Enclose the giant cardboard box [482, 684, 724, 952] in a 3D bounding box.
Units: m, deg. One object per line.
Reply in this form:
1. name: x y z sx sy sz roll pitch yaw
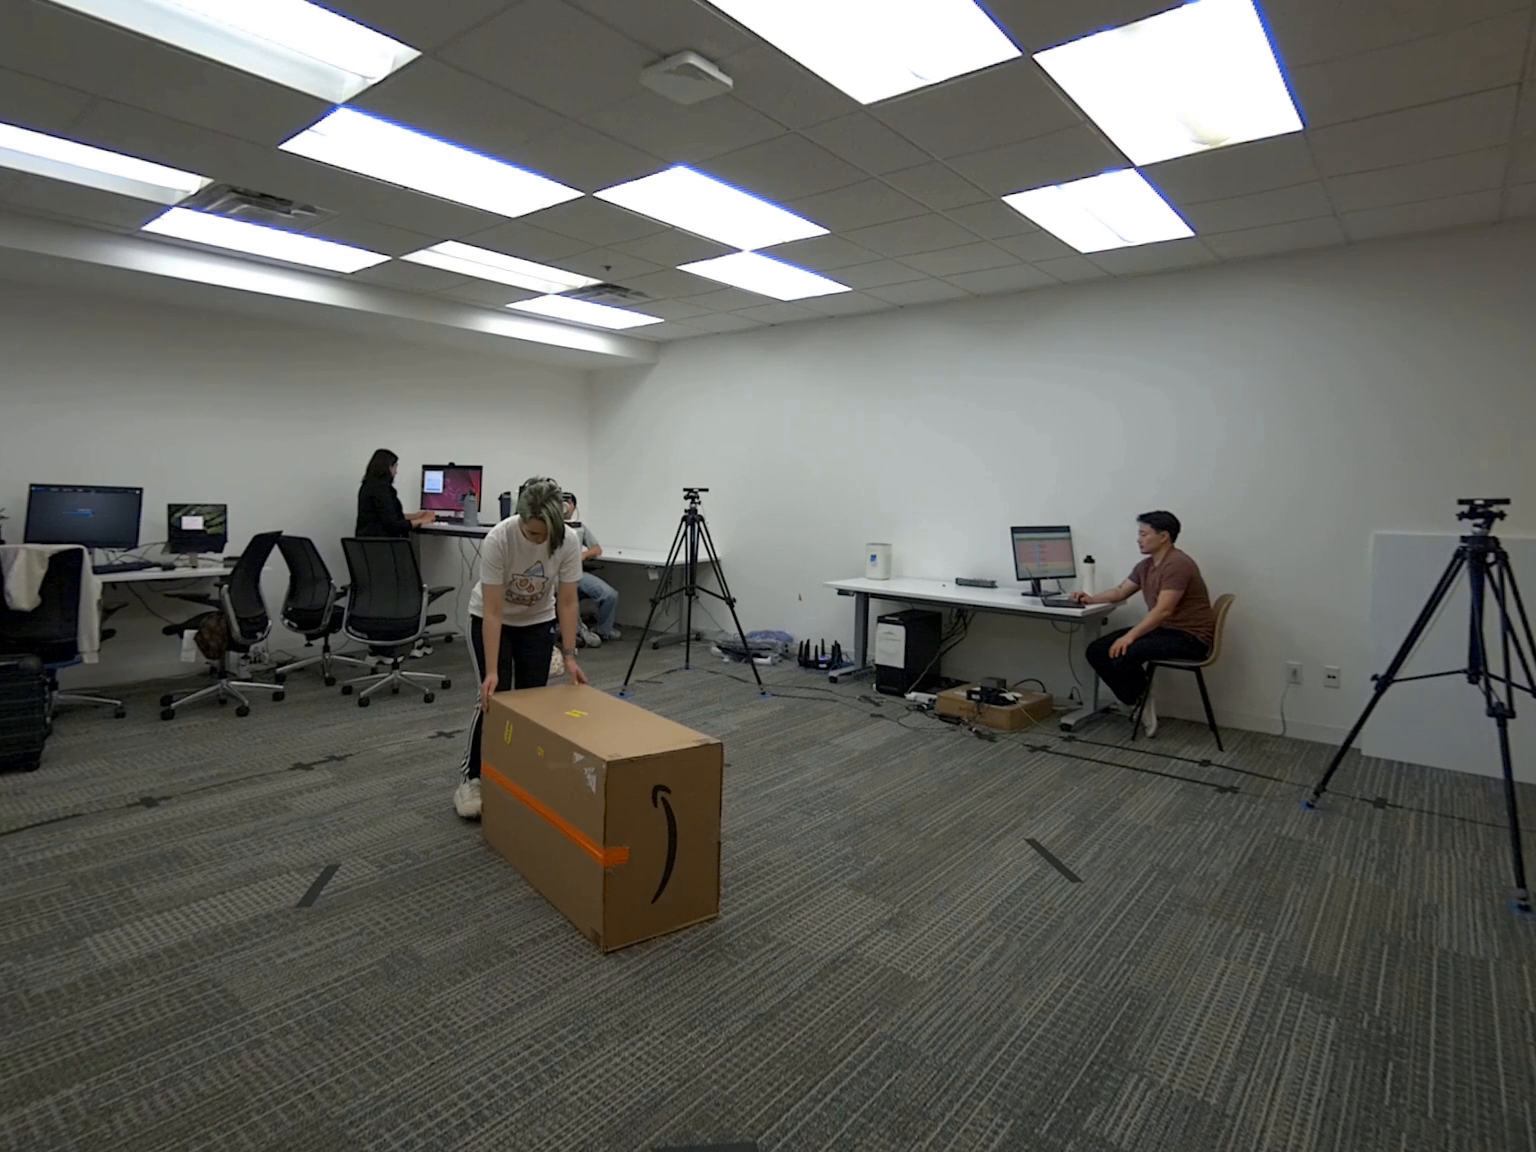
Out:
1. giant cardboard box: -0.645 0.781 3.038 0.434 0.582 1.061 -2 5 -38
